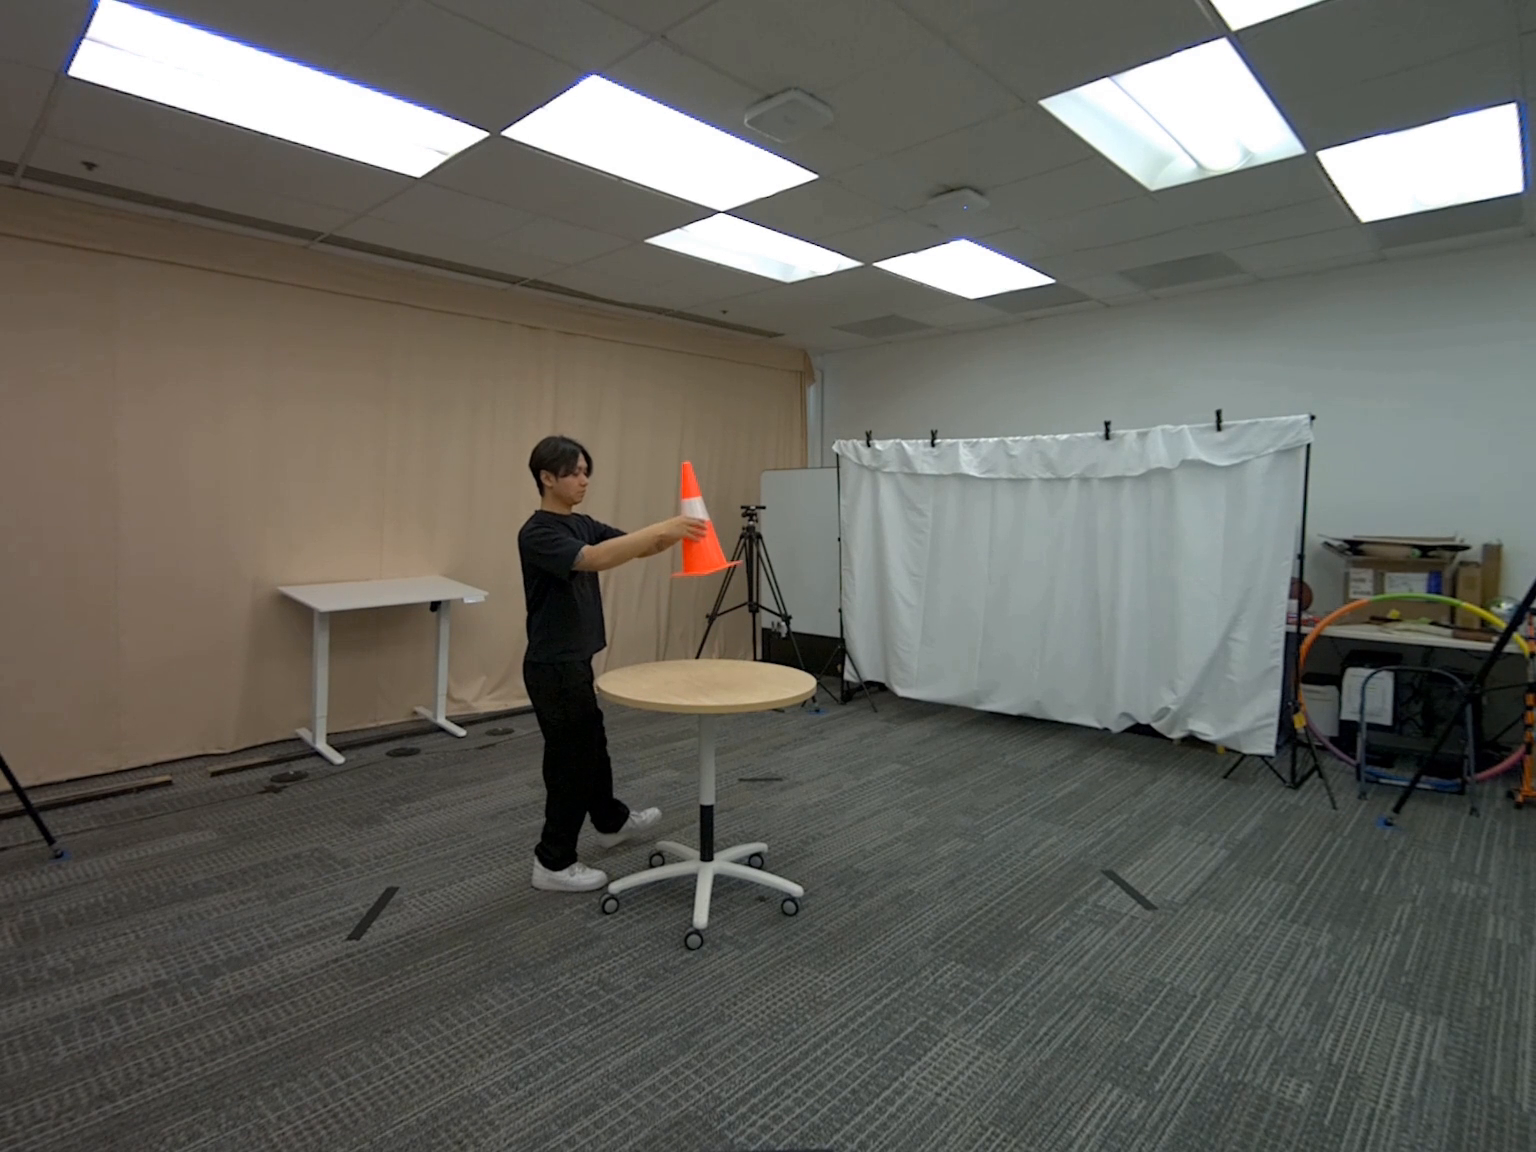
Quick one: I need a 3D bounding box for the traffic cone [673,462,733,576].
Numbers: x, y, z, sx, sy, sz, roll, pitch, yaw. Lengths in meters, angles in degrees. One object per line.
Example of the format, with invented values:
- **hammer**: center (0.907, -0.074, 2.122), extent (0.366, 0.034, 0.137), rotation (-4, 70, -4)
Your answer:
- **traffic cone**: center (-0.255, -0.212, 2.948), extent (0.207, 0.383, 0.202), rotation (-7, 3, 17)
